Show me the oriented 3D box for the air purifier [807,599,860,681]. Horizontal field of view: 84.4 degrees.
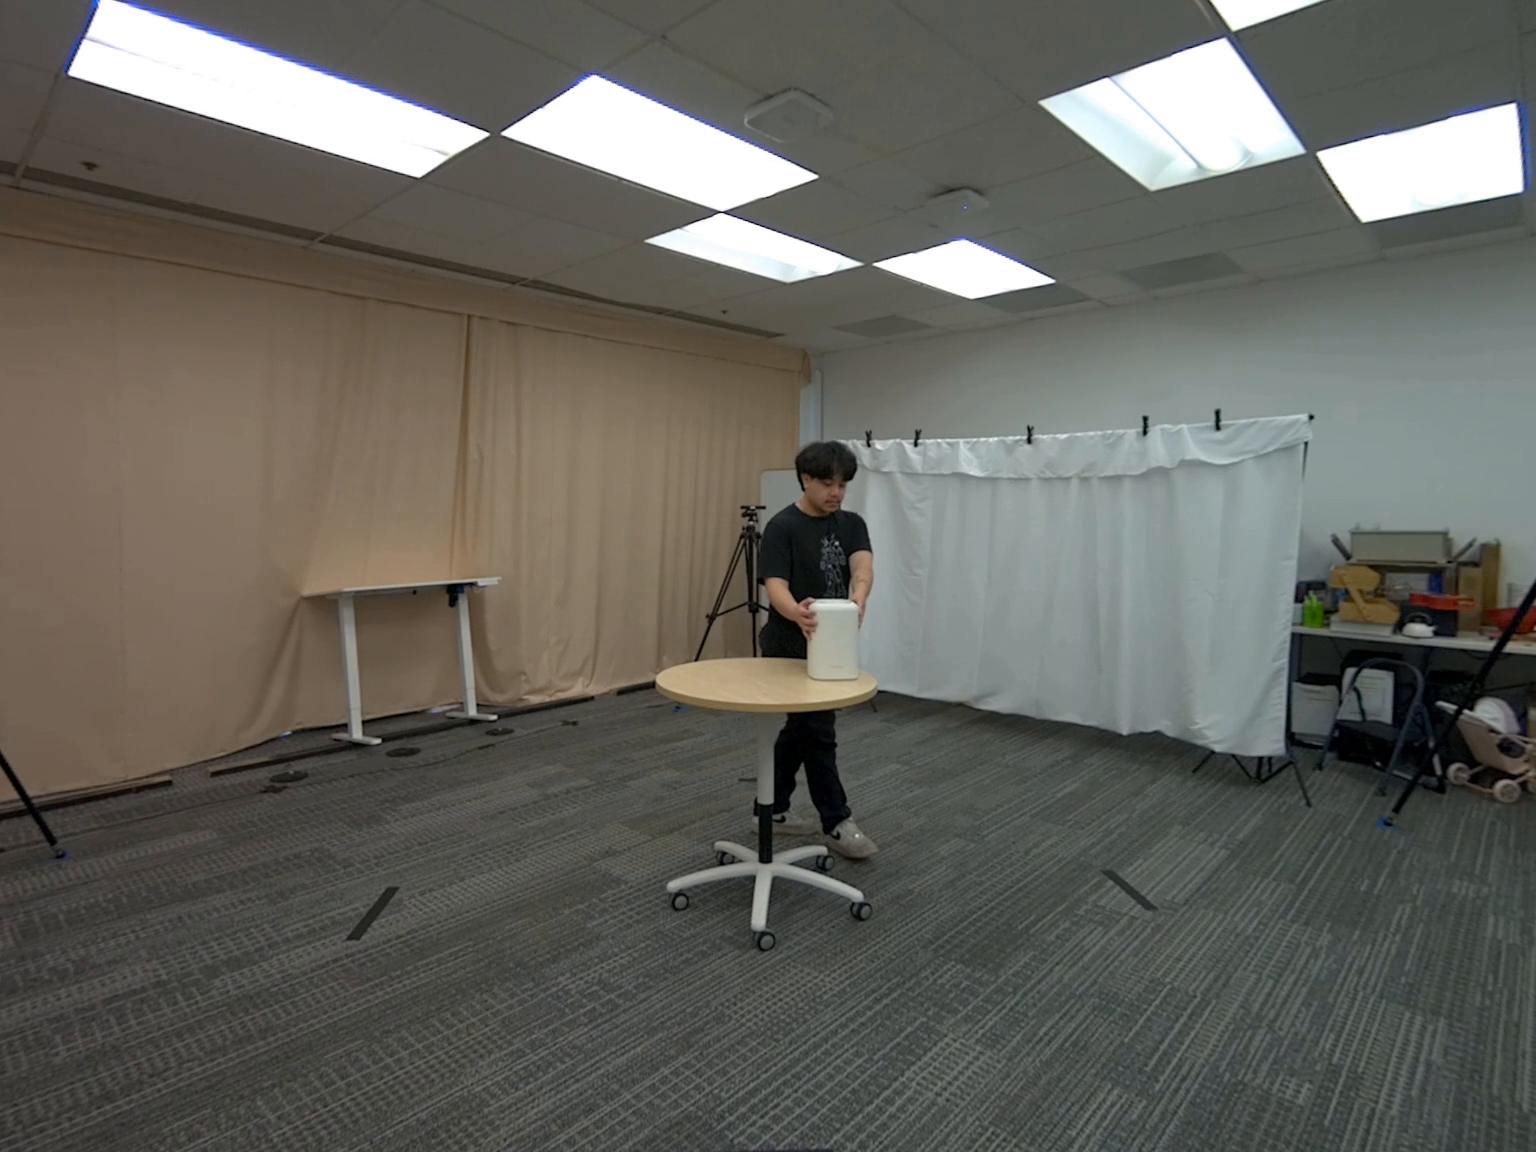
[{"bbox_3d":[0.226,0.220,2.965,0.171,0.265,0.172,3,3,-1],"label":"air purifier"}]
